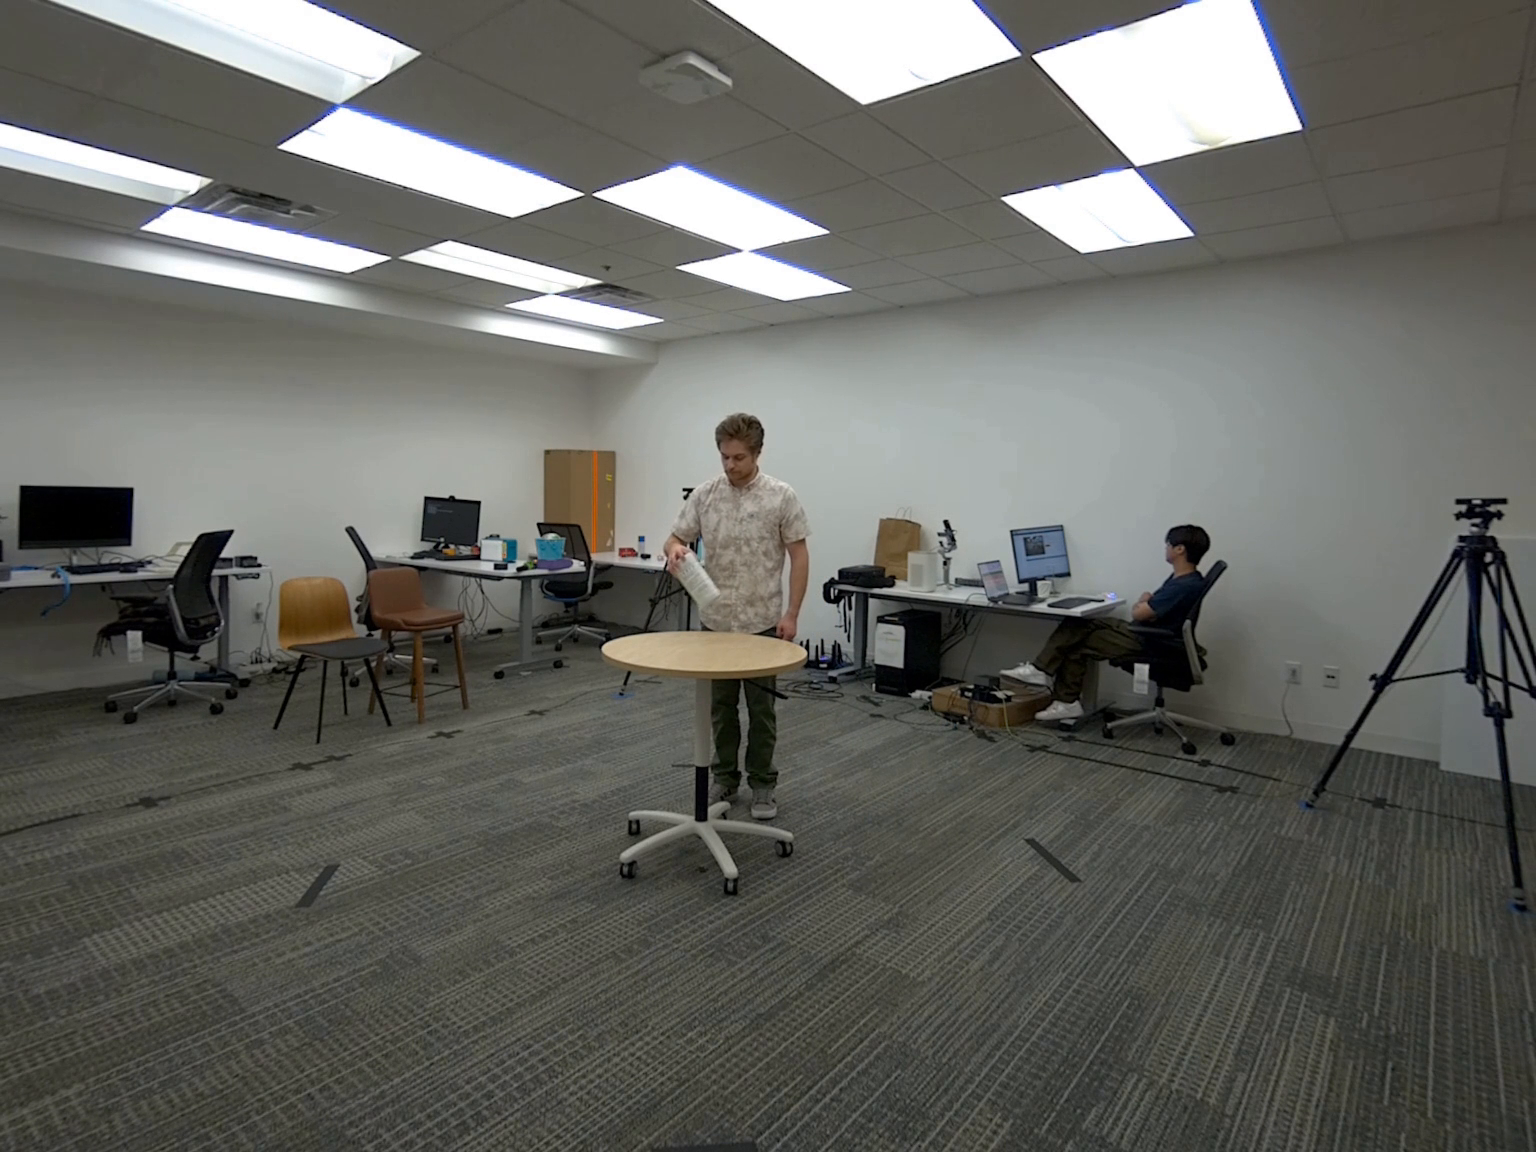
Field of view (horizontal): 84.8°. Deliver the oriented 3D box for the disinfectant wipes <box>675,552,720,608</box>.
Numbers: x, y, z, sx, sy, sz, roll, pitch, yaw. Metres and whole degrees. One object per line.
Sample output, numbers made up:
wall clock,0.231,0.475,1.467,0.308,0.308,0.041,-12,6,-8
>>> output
disinfectant wipes,-0.299,0.016,3.433,0.117,0.219,0.117,-35,-3,-4
